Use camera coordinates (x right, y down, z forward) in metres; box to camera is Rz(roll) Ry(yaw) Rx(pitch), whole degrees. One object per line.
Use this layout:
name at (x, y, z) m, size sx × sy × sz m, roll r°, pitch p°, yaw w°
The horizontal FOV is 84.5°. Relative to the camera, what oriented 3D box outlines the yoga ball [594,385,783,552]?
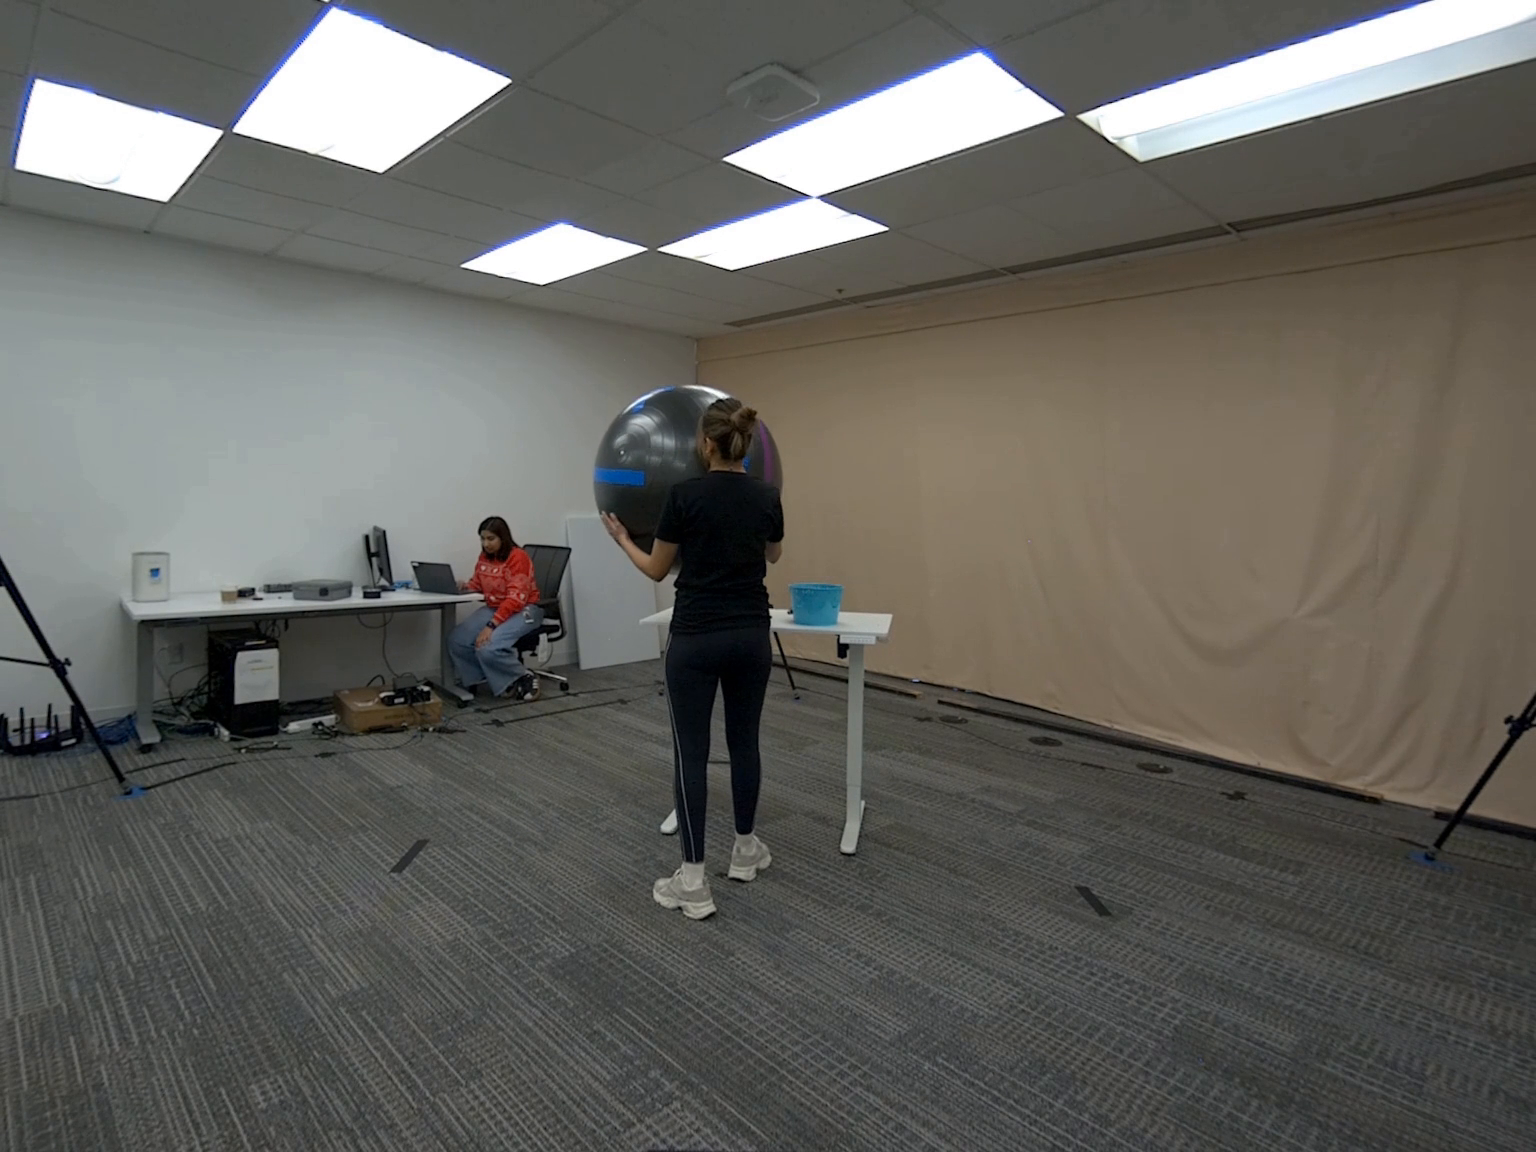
yoga ball at (-0.322, -0.377, 3.372) m, size 0.757 × 0.756 × 0.761 m, roll 1°, pitch 4°, yaw -1°
